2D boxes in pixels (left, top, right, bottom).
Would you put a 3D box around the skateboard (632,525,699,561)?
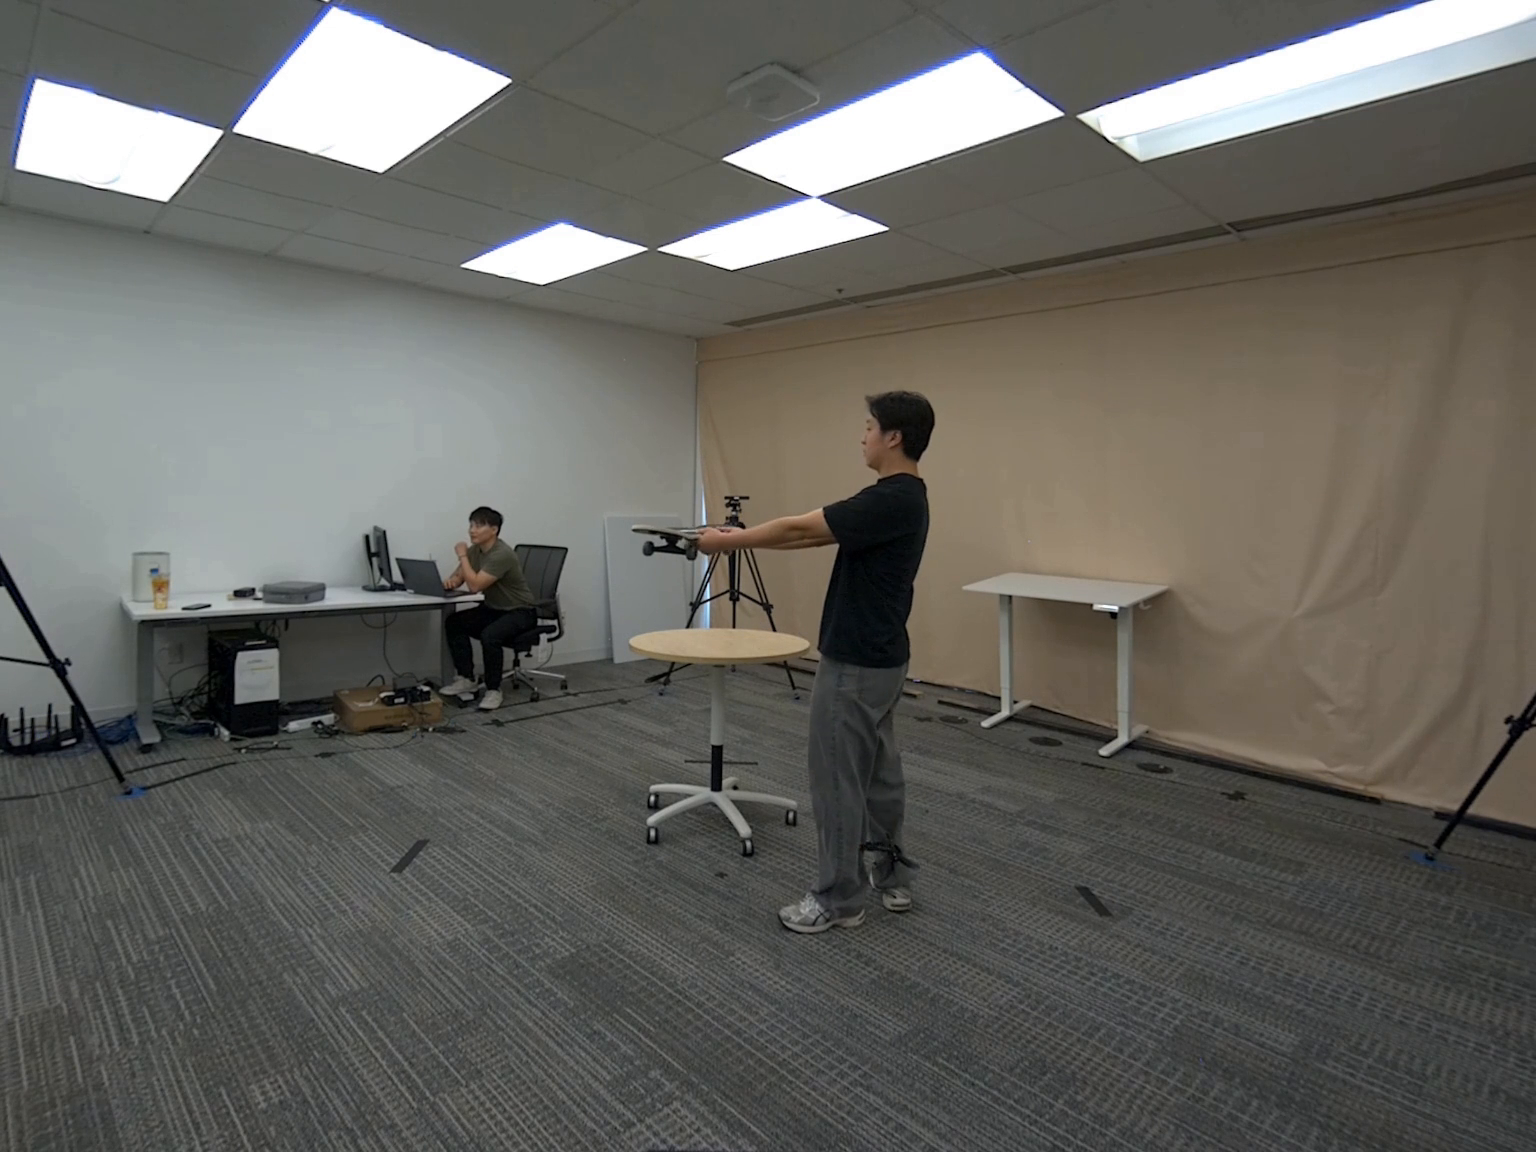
[{"bbox_3d":[-0.286,-0.127,2.979,0.196,0.110,0.777,3,4,15],"label":"skateboard"}]
